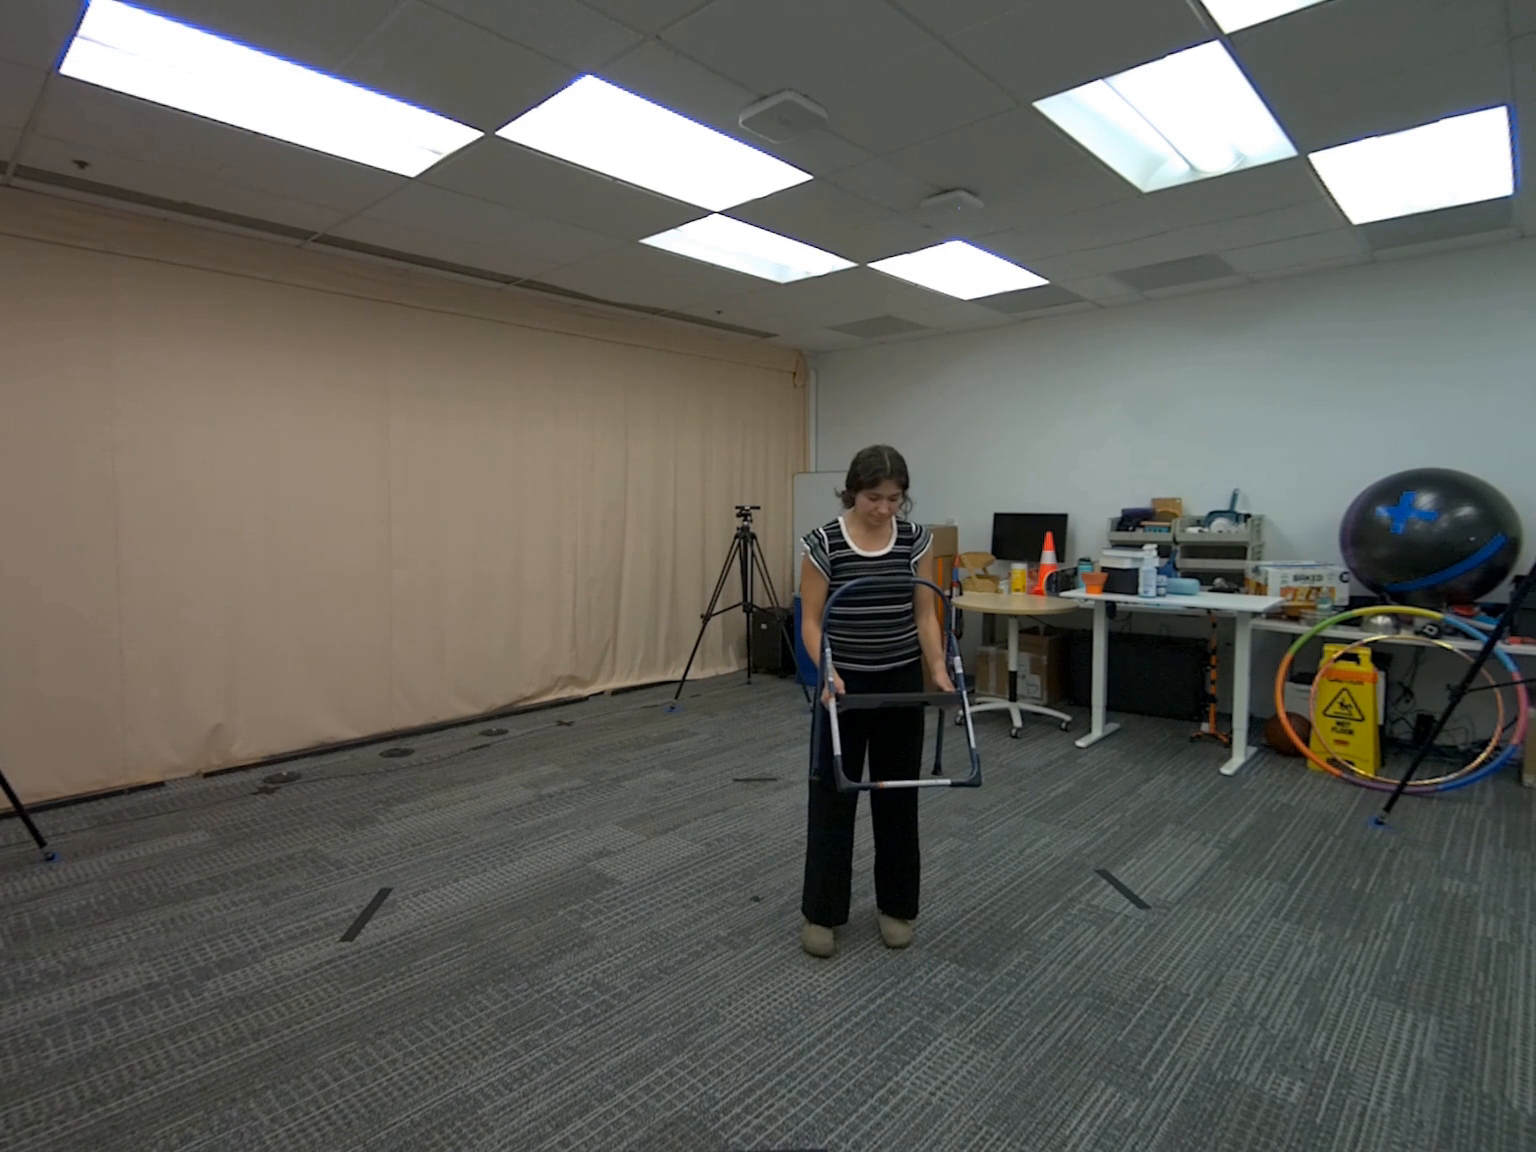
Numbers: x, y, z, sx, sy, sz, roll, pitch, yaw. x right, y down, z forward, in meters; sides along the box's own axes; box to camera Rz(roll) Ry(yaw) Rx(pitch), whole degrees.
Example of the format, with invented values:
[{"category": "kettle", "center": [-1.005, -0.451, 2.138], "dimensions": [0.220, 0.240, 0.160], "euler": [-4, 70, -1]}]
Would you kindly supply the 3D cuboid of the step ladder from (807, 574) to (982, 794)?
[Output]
[{"category": "step ladder", "center": [0.361, 0.314, 2.538], "dimensions": [0.426, 0.610, 0.351], "euler": [-1, -9, -10]}]
